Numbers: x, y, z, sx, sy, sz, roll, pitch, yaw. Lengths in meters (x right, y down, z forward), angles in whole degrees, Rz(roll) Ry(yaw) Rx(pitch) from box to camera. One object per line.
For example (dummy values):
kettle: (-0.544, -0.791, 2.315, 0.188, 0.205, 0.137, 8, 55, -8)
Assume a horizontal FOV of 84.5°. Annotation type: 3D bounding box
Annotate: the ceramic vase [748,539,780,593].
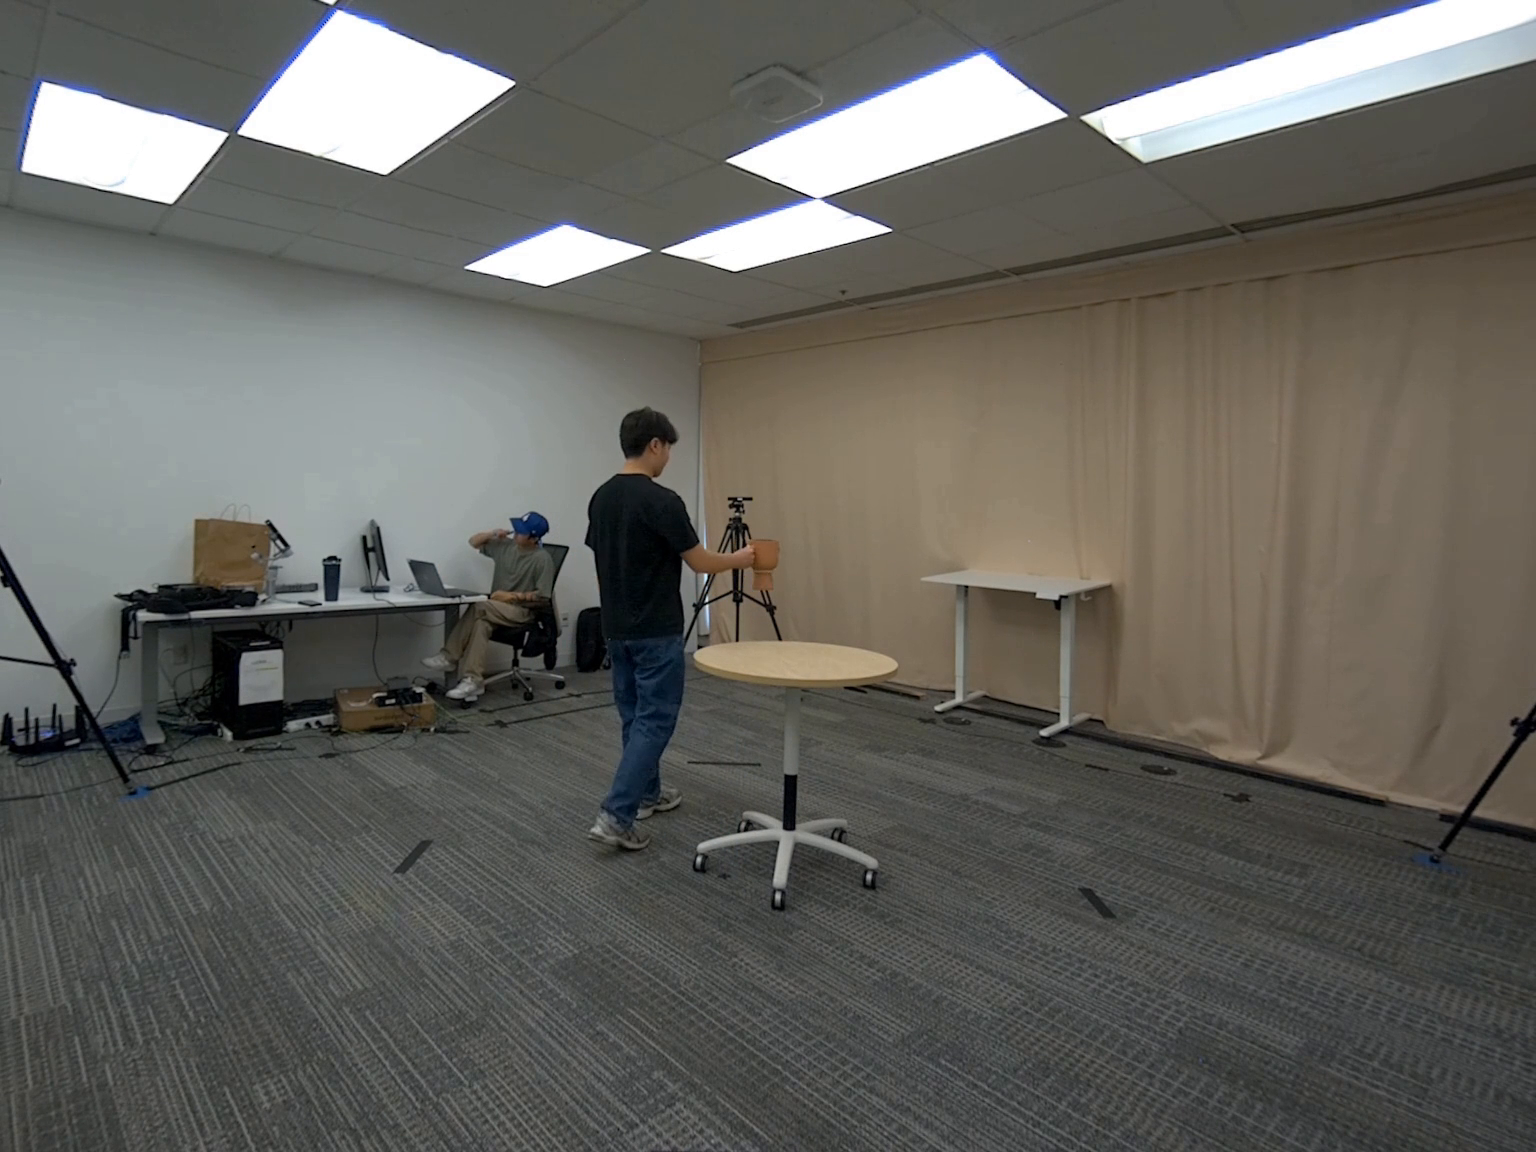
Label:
ceramic vase: (-0.035, -0.052, 3.752, 0.156, 0.219, 0.137, 0, 3, -26)
